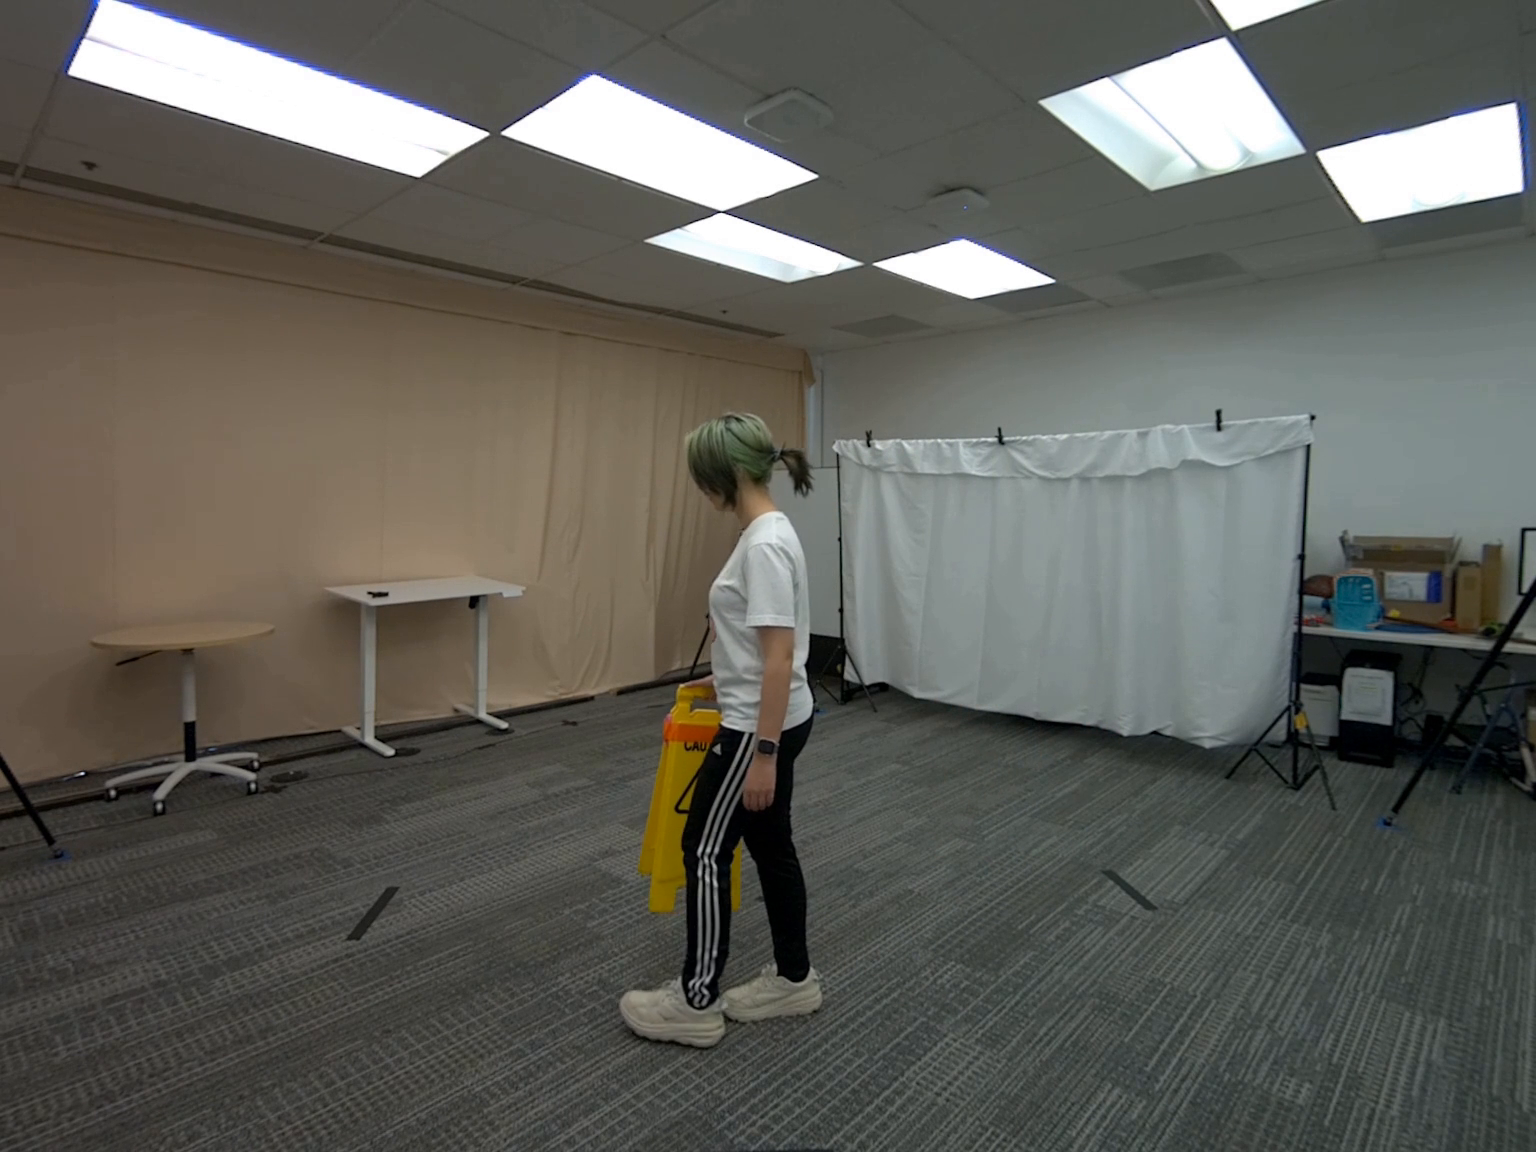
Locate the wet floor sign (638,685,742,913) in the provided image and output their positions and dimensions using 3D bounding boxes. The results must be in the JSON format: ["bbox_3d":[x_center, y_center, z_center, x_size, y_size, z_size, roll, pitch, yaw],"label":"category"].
[{"bbox_3d":[-0.219,0.657,2.576,0.278,0.645,0.294,6,2,-14],"label":"wet floor sign"}]
